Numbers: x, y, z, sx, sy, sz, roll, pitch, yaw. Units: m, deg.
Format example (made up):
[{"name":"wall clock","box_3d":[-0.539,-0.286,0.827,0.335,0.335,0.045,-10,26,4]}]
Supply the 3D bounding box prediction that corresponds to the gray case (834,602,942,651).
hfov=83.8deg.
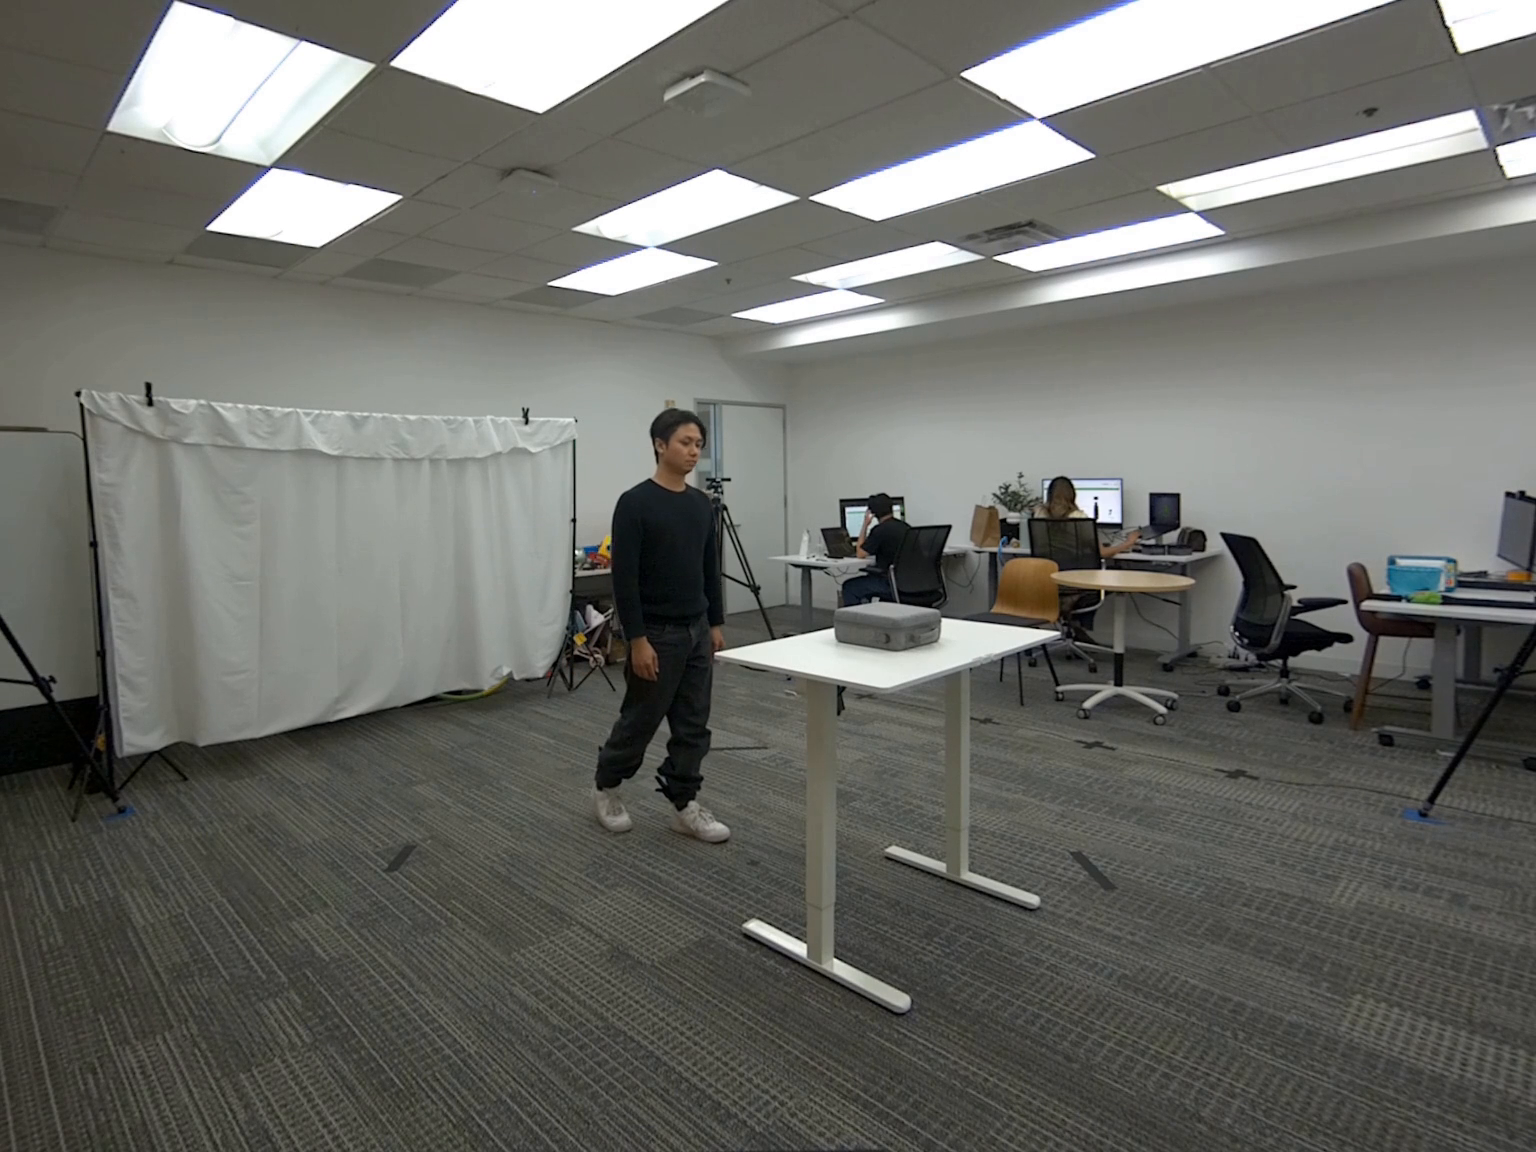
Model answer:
[{"name":"gray case","box_3d":[0.381,0.153,2.651,0.269,0.104,0.250,7,8,44]}]
